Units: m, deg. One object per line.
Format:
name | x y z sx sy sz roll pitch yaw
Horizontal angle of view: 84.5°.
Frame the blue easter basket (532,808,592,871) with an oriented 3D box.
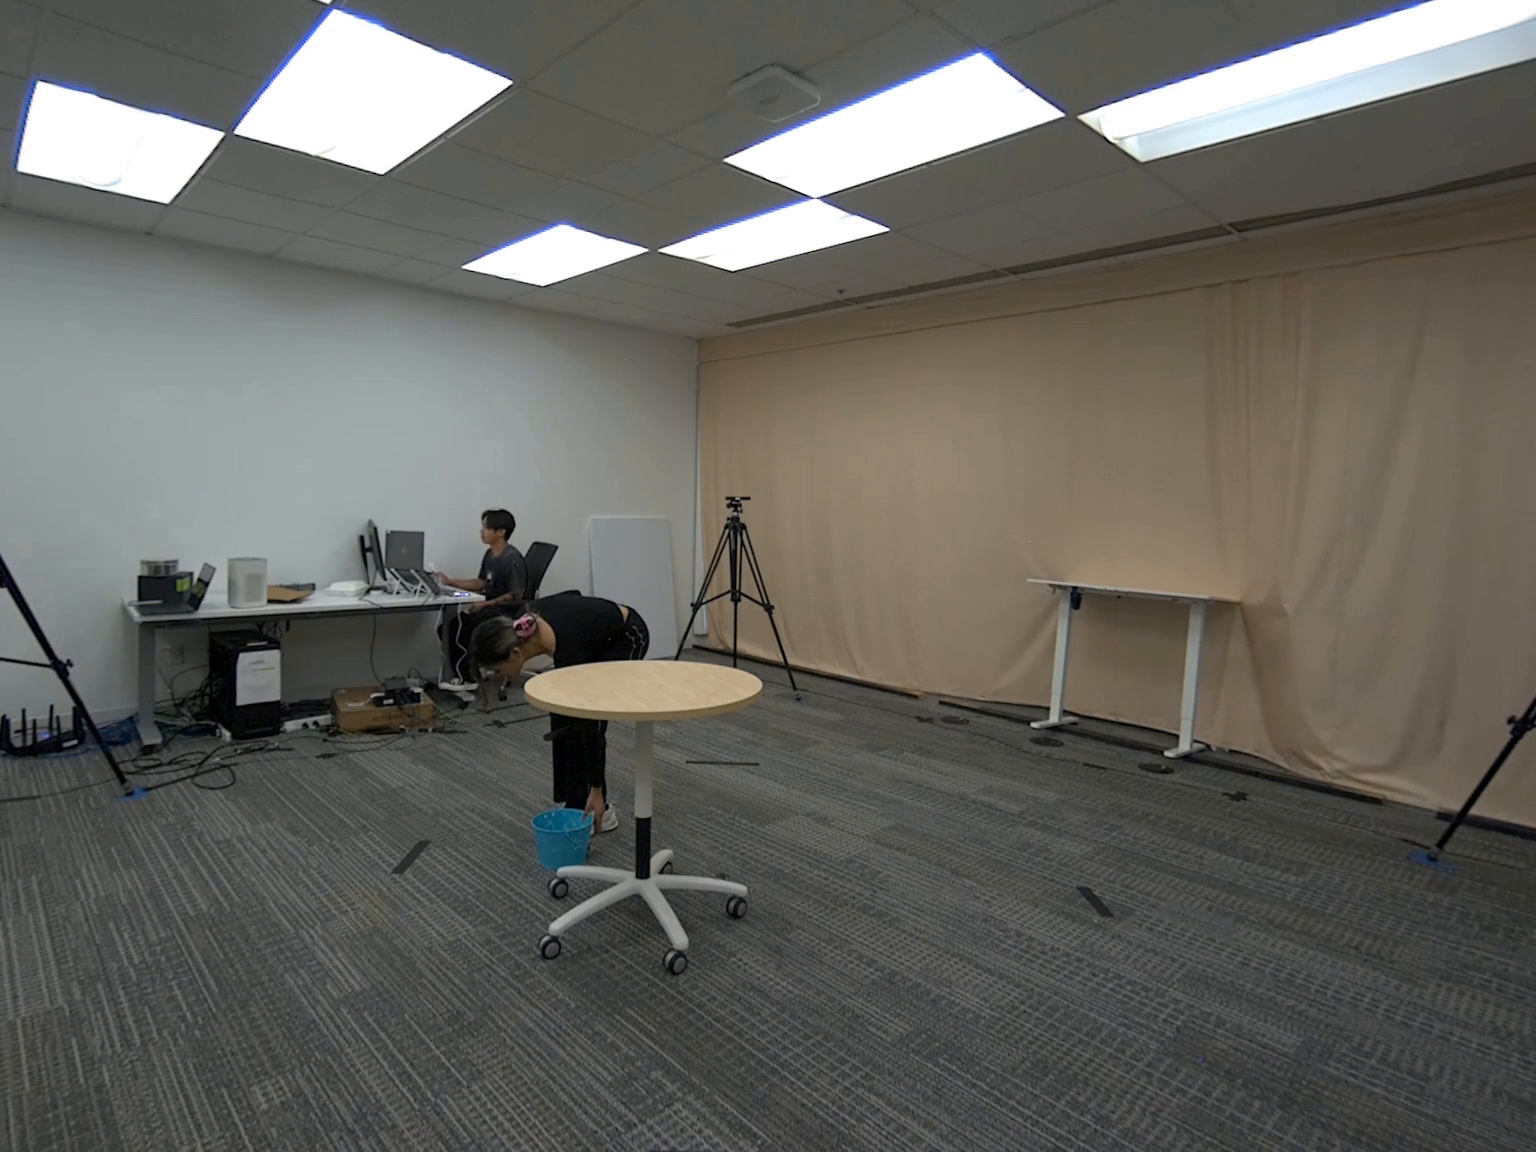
blue easter basket | -0.799 1.009 3.215 0.243 0.155 0.244 2 4 -2
